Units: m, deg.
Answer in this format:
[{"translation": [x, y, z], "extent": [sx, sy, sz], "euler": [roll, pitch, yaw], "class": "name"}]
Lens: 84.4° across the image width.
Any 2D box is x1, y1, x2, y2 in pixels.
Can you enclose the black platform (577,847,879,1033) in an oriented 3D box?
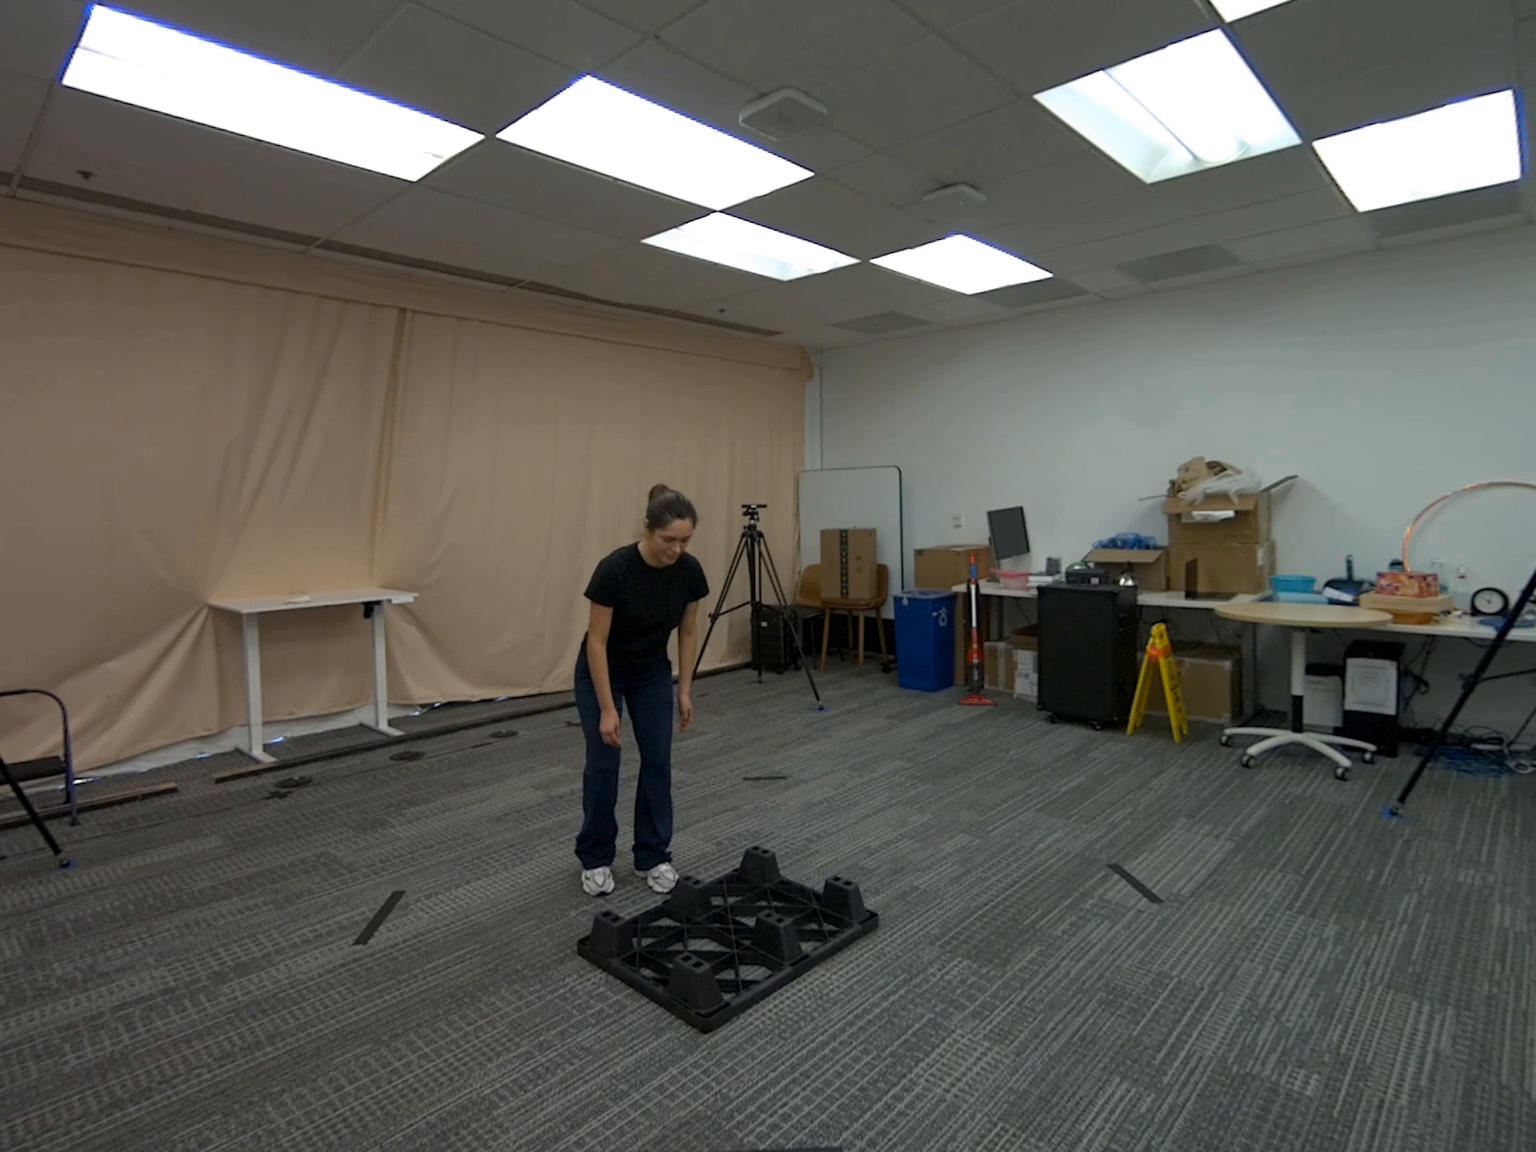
[{"translation": [-0.098, 1.102, 2.694], "extent": [0.625, 0.143, 0.781], "euler": [3, 7, 43], "class": "black platform"}]
